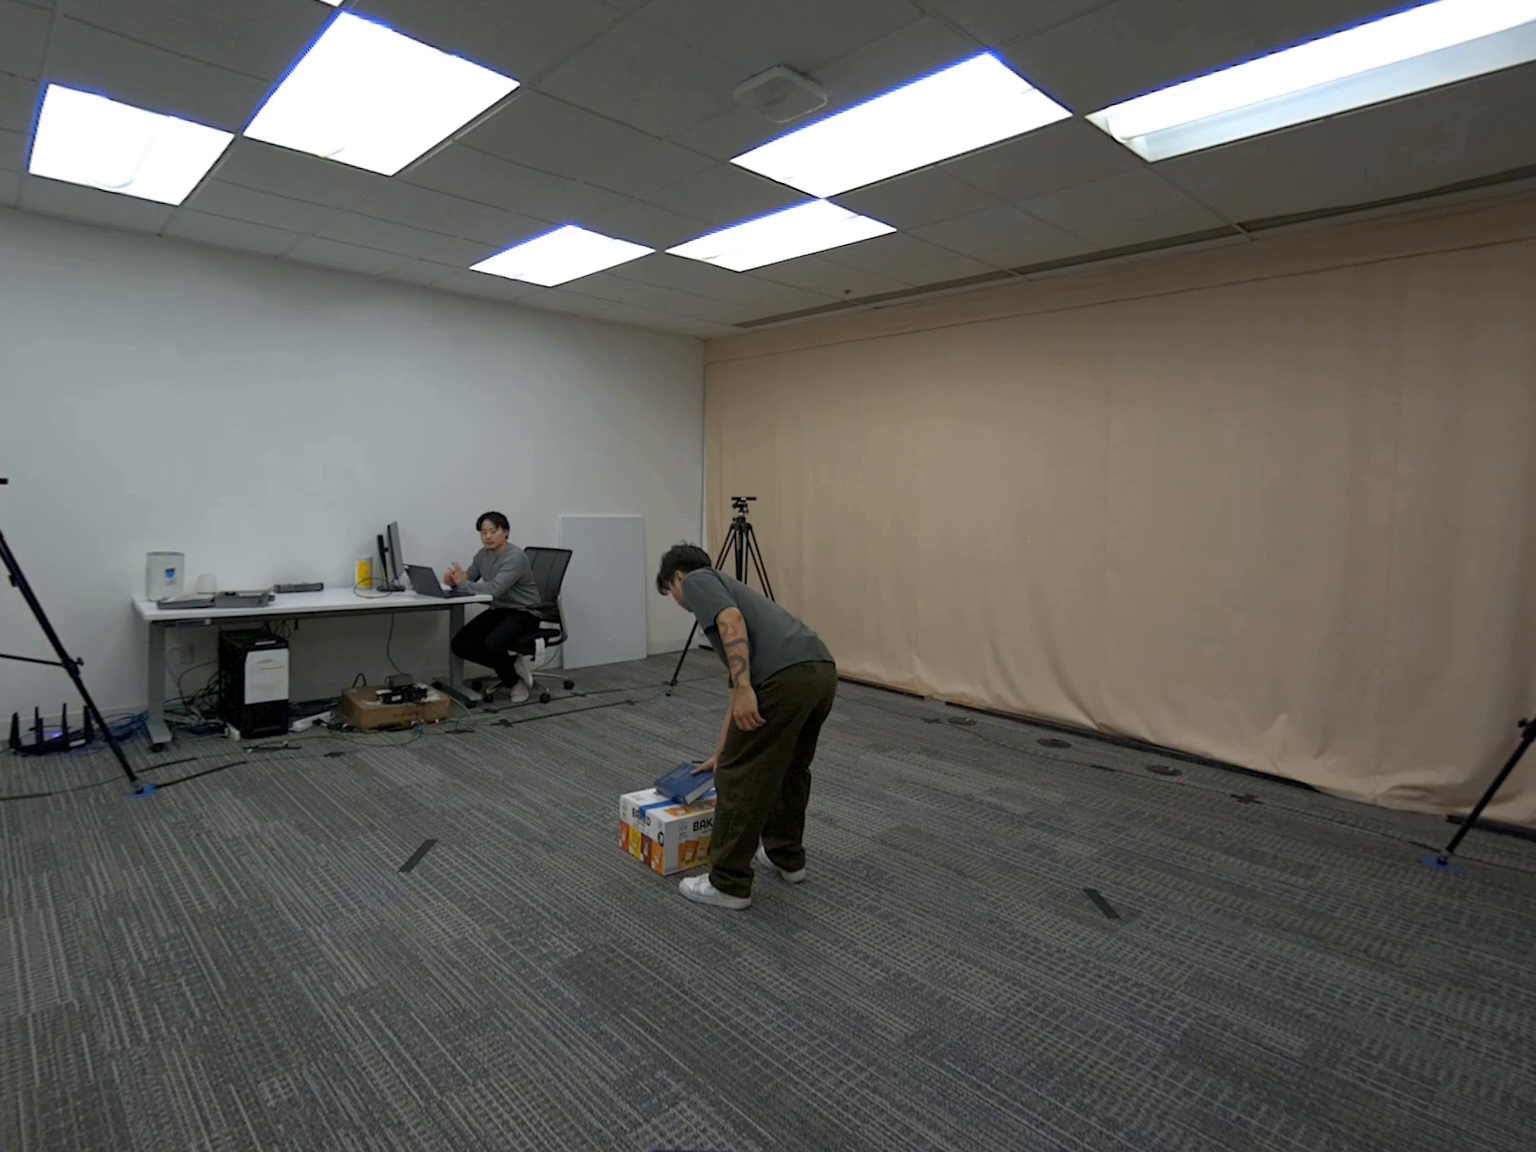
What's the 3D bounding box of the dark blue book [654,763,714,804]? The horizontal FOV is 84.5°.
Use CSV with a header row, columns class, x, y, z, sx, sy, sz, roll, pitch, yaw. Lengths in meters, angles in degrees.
class,x,y,z,sx,sy,sz,roll,pitch,yaw
dark blue book,-0.331,0.814,3.317,0.162,0.044,0.250,-27,17,-29
